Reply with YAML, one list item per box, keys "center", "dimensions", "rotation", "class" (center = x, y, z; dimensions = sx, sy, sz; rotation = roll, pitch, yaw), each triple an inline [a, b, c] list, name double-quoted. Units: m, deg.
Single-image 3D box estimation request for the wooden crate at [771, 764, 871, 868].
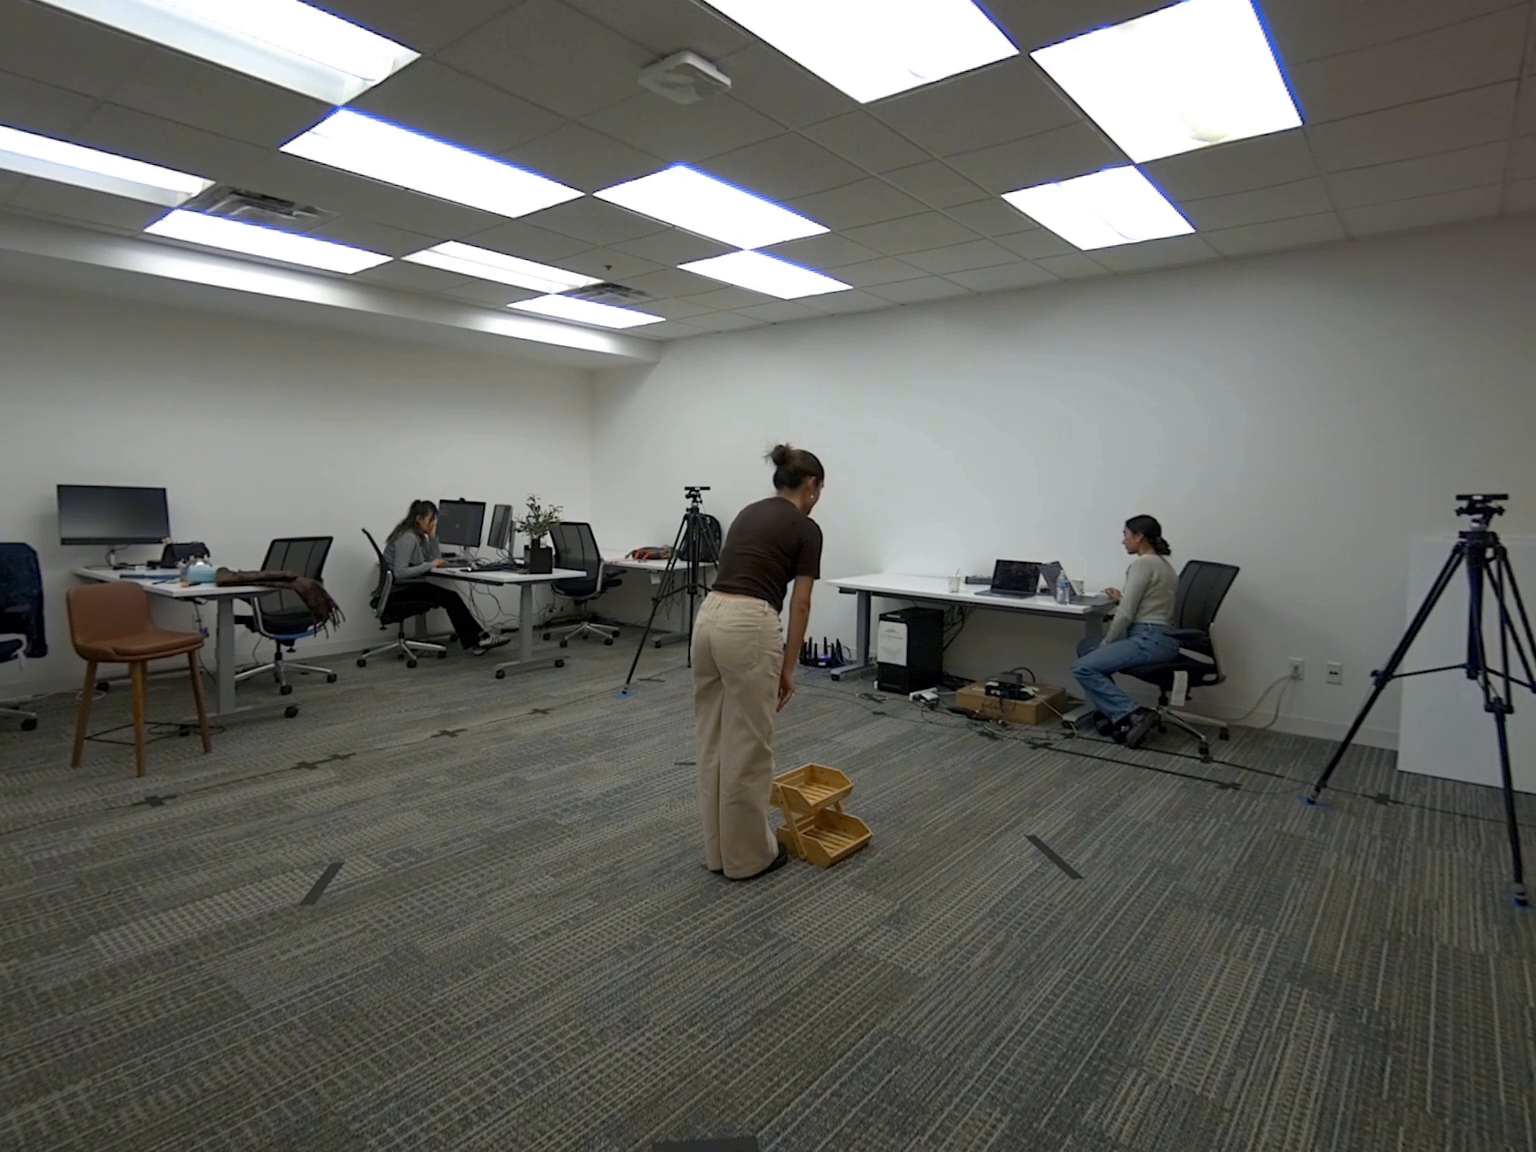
- center: [0.197, 0.916, 3.314]
  dimensions: [0.312, 0.272, 0.315]
  rotation: [3, 5, 38]
  class: "wooden crate"
